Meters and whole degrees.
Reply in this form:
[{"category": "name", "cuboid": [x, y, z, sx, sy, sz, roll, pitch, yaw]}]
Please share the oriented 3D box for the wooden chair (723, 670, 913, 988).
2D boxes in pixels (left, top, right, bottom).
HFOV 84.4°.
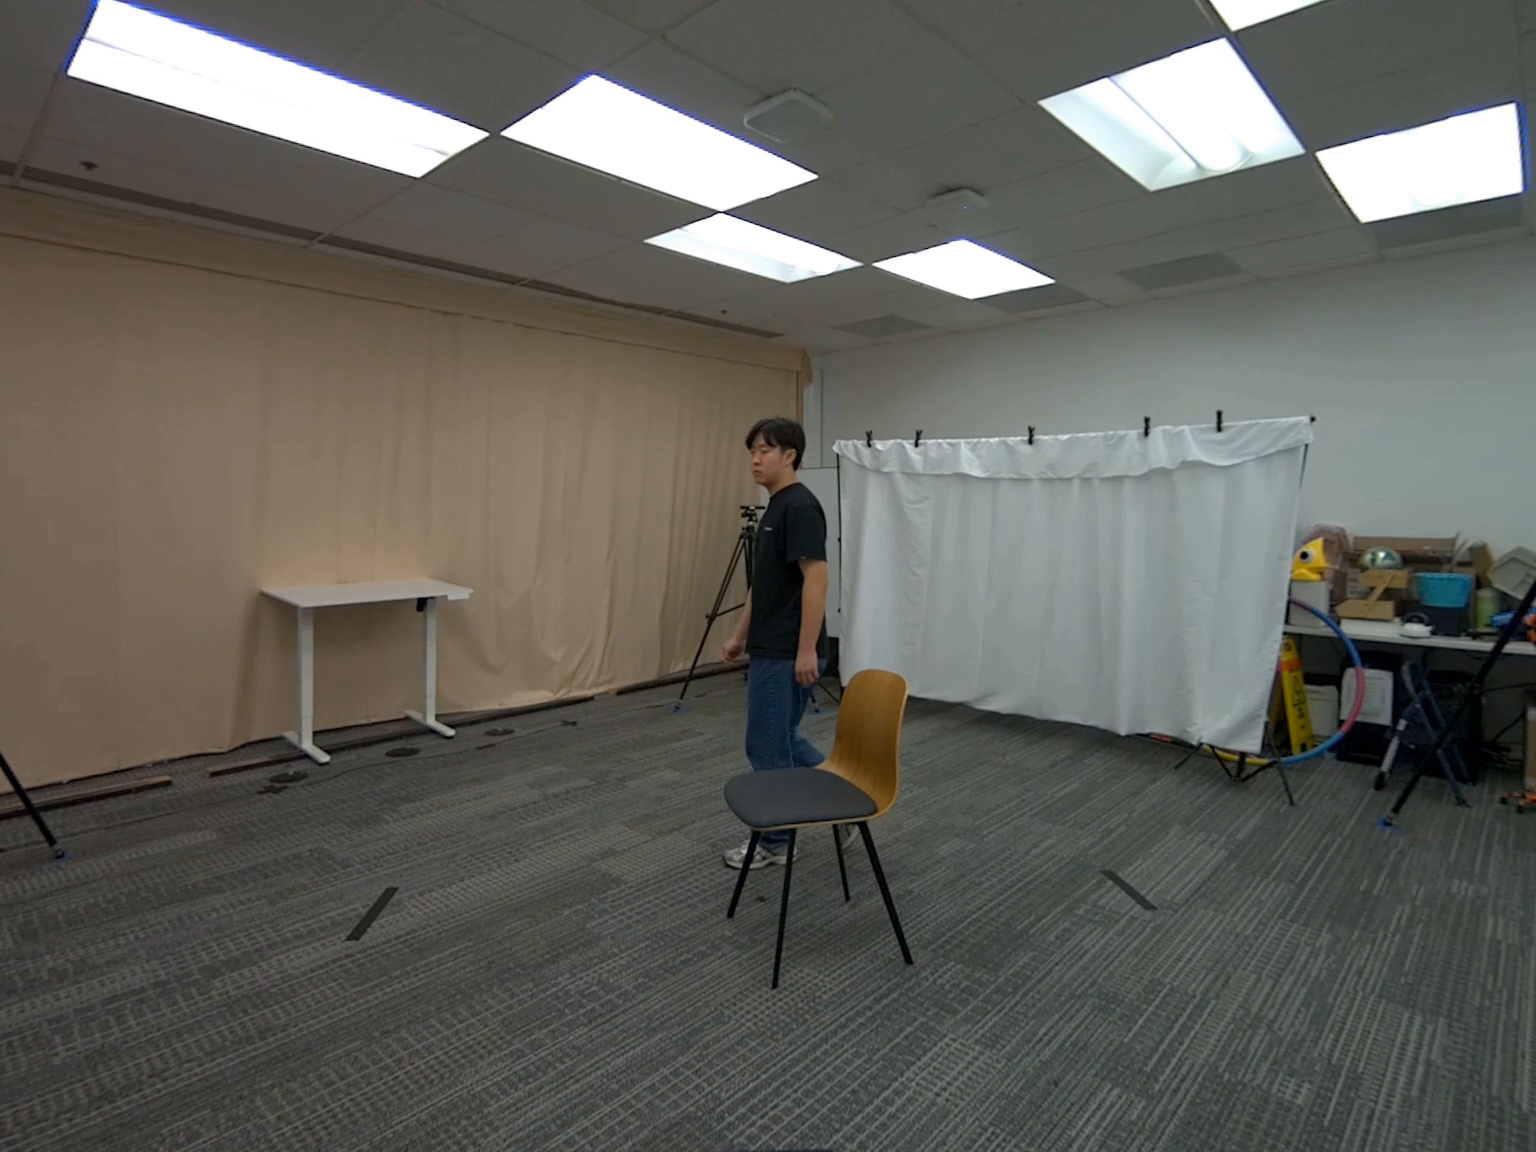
[{"category": "wooden chair", "cuboid": [0.150, 0.744, 2.670, 0.513, 0.876, 0.488, 3, 2, -19]}]
